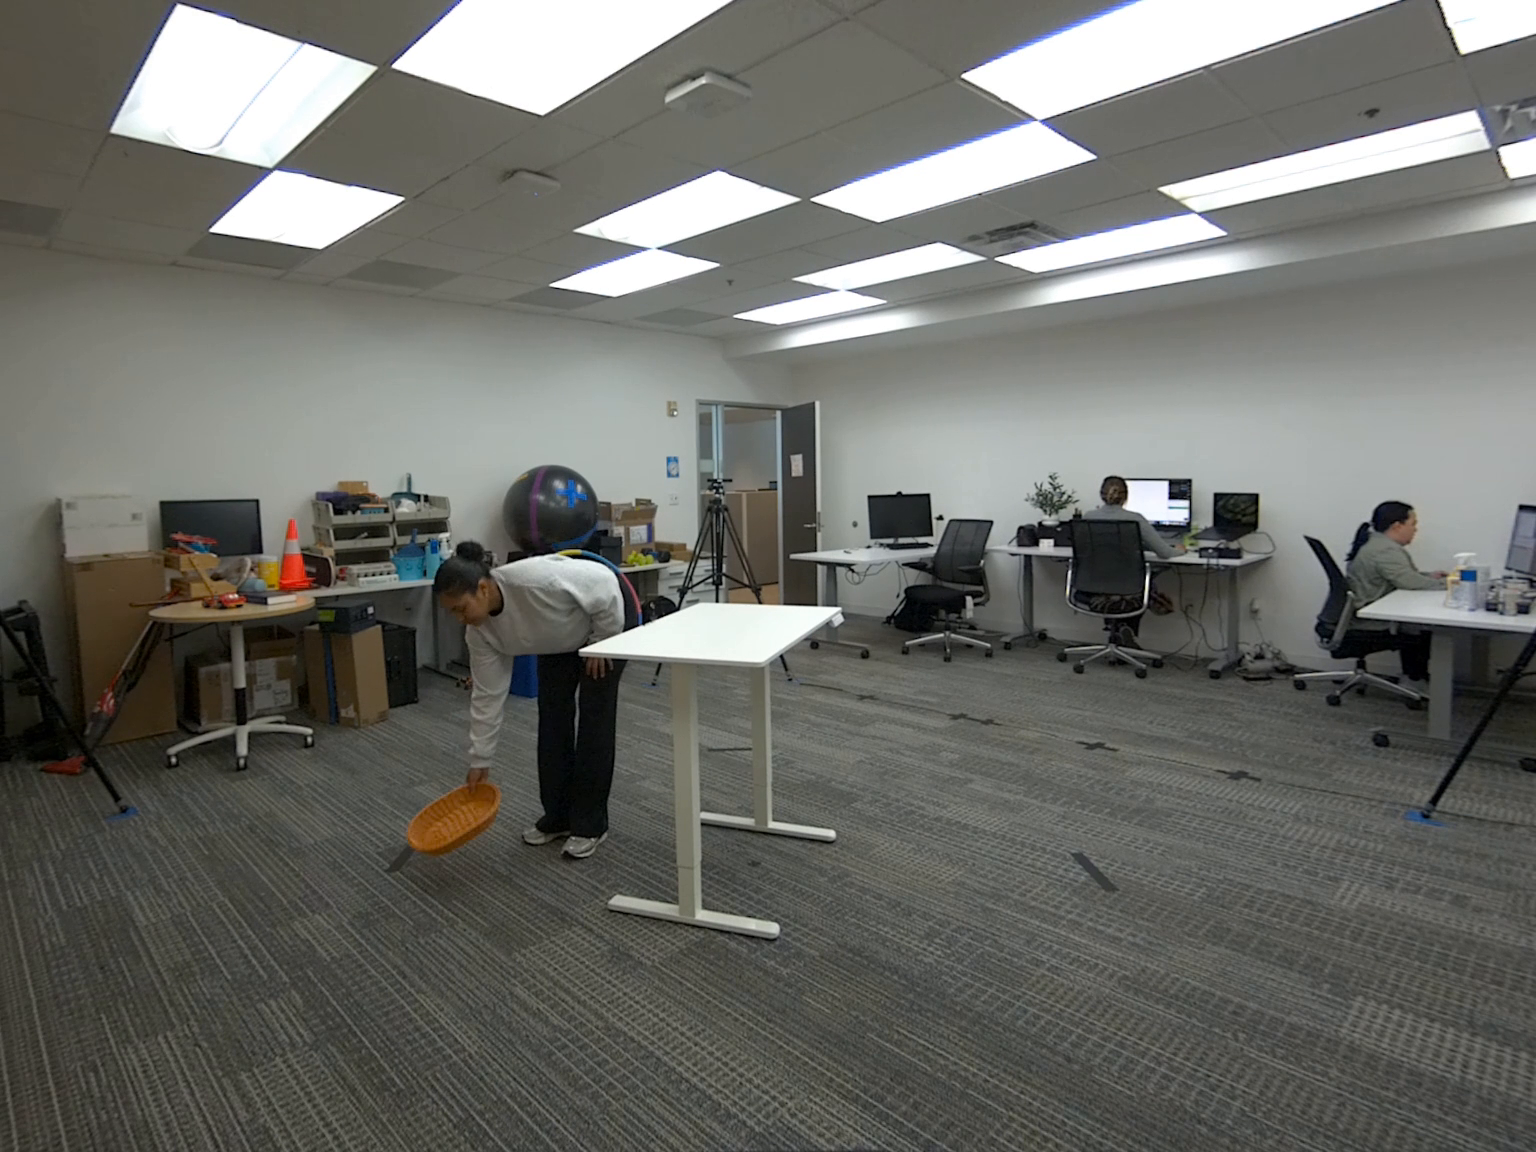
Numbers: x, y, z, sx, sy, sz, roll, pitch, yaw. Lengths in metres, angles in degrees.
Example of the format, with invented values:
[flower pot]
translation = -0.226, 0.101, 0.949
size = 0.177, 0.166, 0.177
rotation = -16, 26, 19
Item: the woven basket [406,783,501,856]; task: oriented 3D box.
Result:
[woven basket]
translation = -1.126, 0.868, 3.046
size = 0.346, 0.071, 0.262
rotation = -28, 32, -27
